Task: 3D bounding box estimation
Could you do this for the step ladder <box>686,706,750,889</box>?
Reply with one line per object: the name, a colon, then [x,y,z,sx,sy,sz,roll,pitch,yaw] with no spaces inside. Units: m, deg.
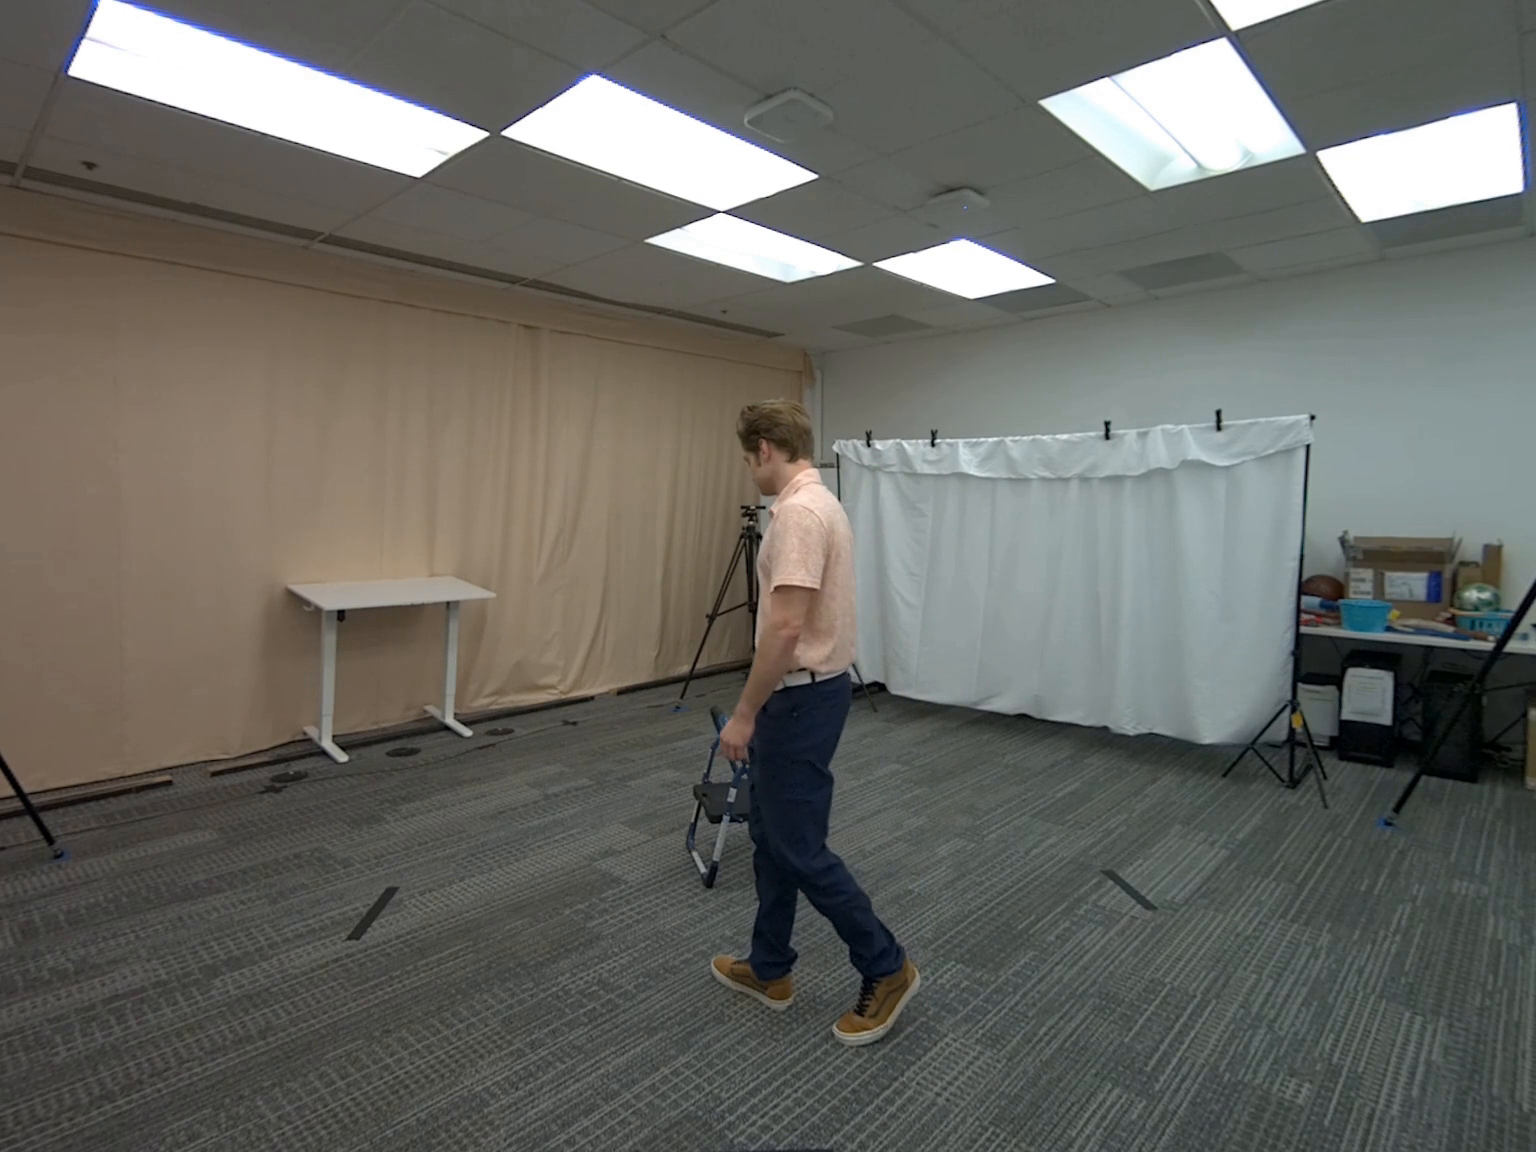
step ladder: [-0.117,0.816,3.281,0.344,0.605,0.438,-1,3,-16]
